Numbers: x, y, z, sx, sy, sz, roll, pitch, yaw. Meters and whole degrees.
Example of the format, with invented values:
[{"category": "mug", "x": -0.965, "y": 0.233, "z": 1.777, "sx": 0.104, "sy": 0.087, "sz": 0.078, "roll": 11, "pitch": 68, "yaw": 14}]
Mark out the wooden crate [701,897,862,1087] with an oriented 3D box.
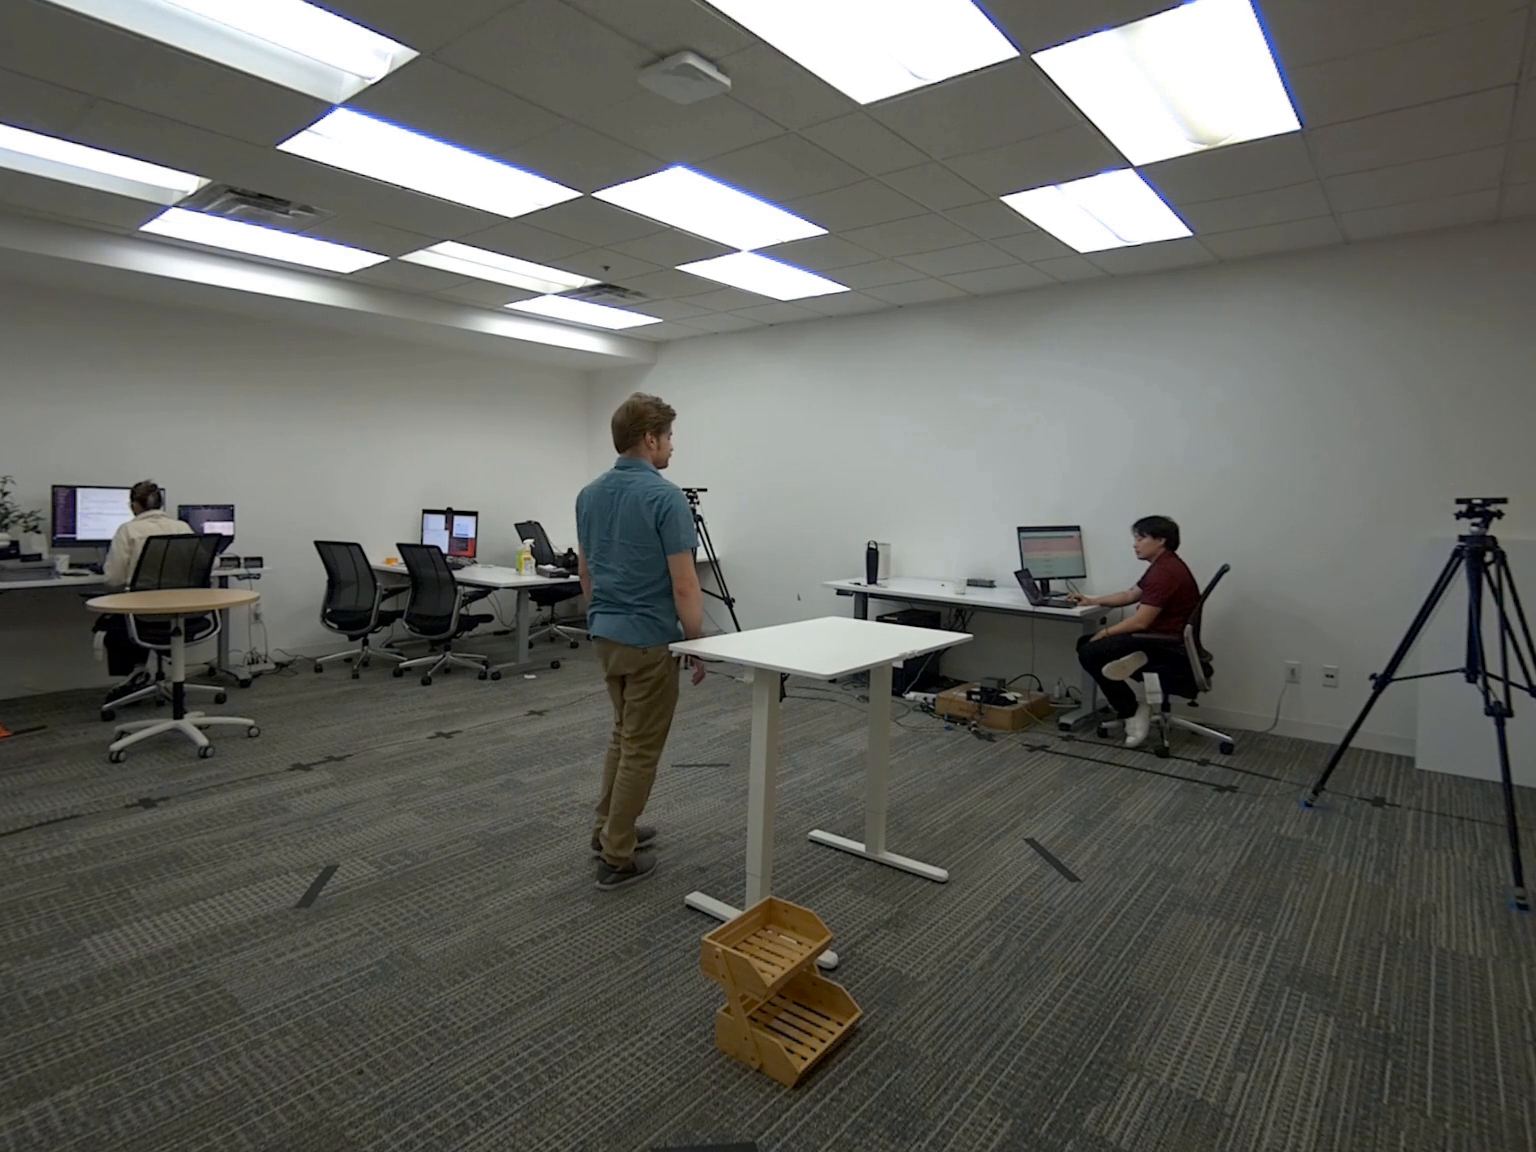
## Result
[{"category": "wooden crate", "x": 0.034, "y": 1.034, "z": 2.168, "sx": 0.312, "sy": 0.273, "sz": 0.315, "roll": 3, "pitch": 4, "yaw": 37}]
